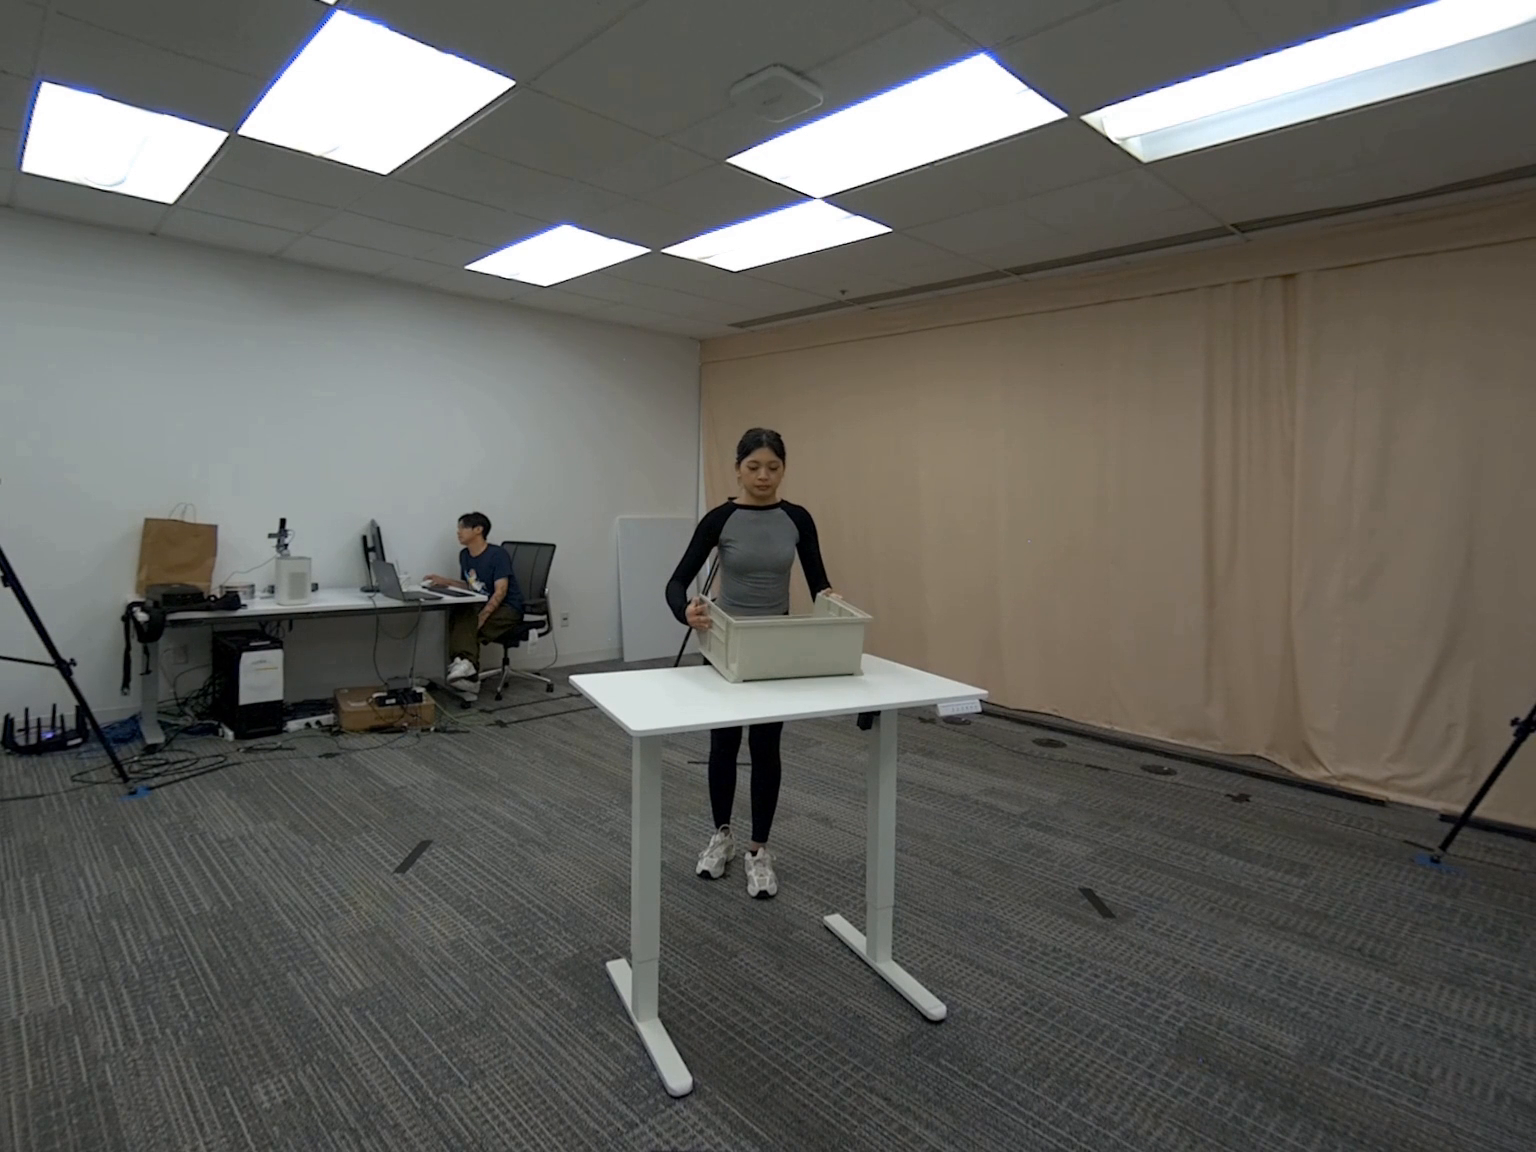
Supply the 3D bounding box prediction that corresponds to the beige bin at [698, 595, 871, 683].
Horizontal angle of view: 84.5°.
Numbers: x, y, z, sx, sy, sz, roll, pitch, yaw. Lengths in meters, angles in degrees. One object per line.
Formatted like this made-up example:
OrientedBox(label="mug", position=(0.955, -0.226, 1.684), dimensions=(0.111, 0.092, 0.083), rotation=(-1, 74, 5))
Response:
OrientedBox(label="beige bin", position=(0.028, 0.173, 2.532), dimensions=(0.416, 0.187, 0.386), rotation=(-1, 13, -20))
